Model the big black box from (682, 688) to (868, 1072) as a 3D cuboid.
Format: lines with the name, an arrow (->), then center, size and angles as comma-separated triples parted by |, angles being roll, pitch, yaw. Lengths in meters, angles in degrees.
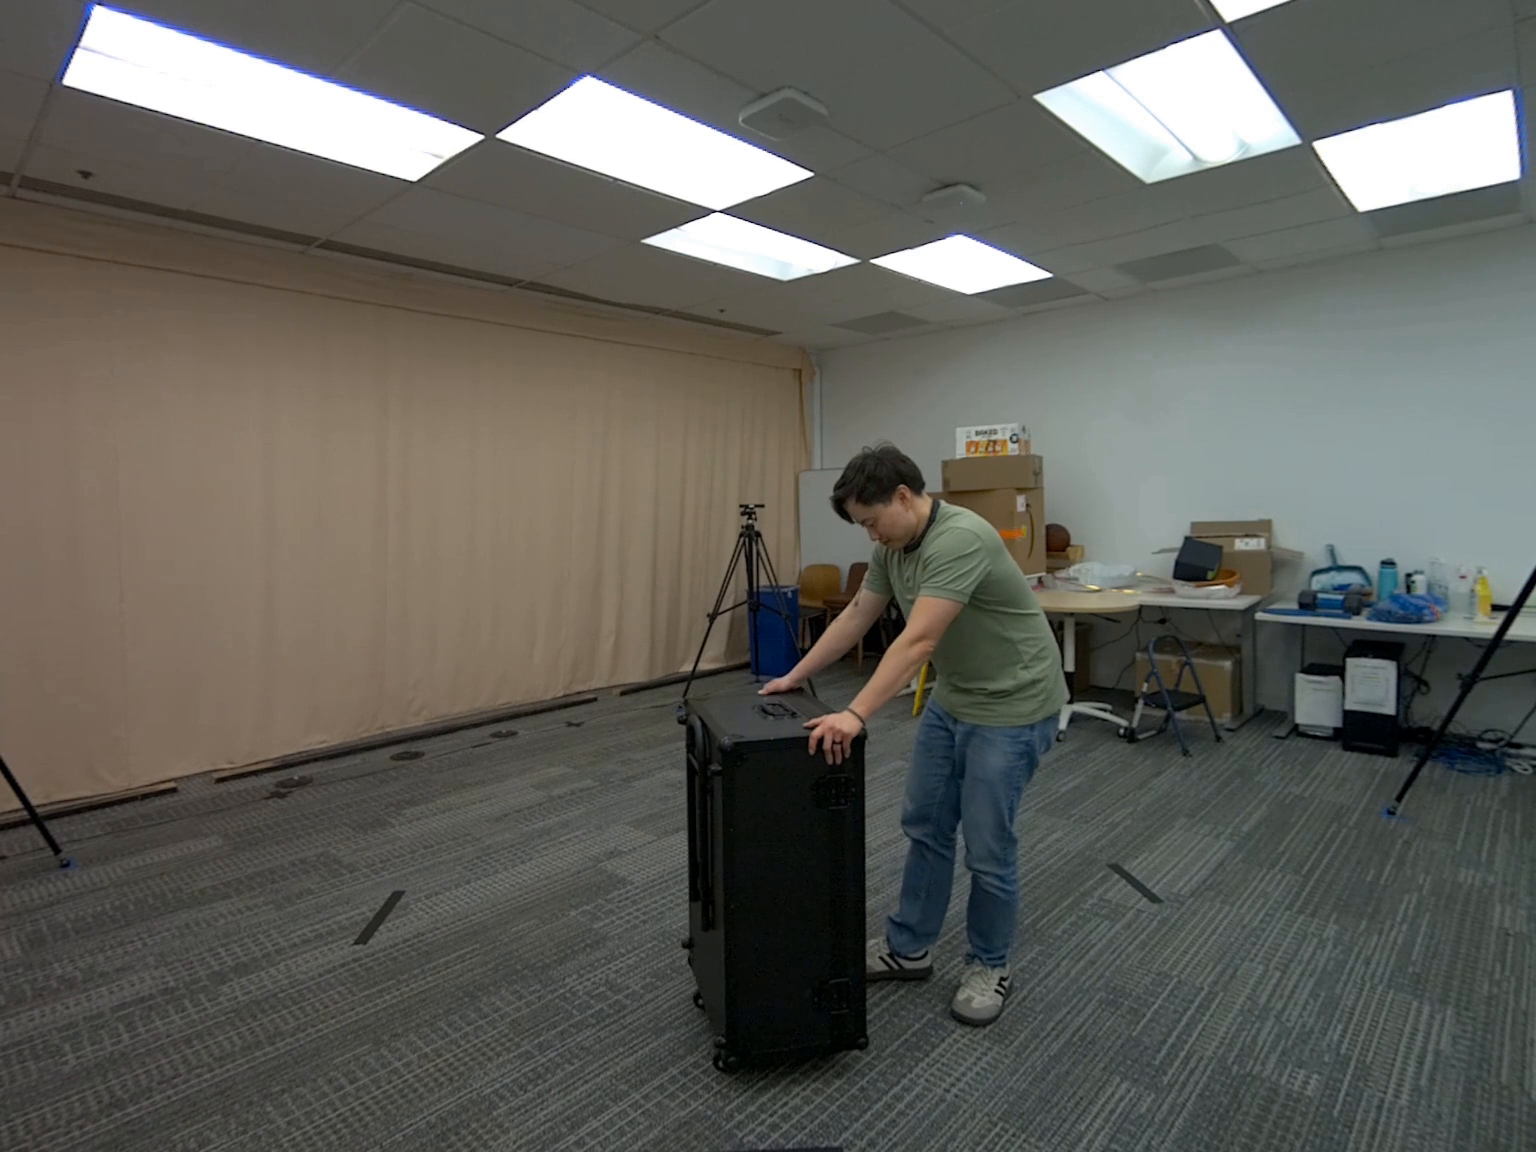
big black box -> -0.003, 0.786, 2.206 | 0.390, 0.859, 0.530 | -3, 4, -15
